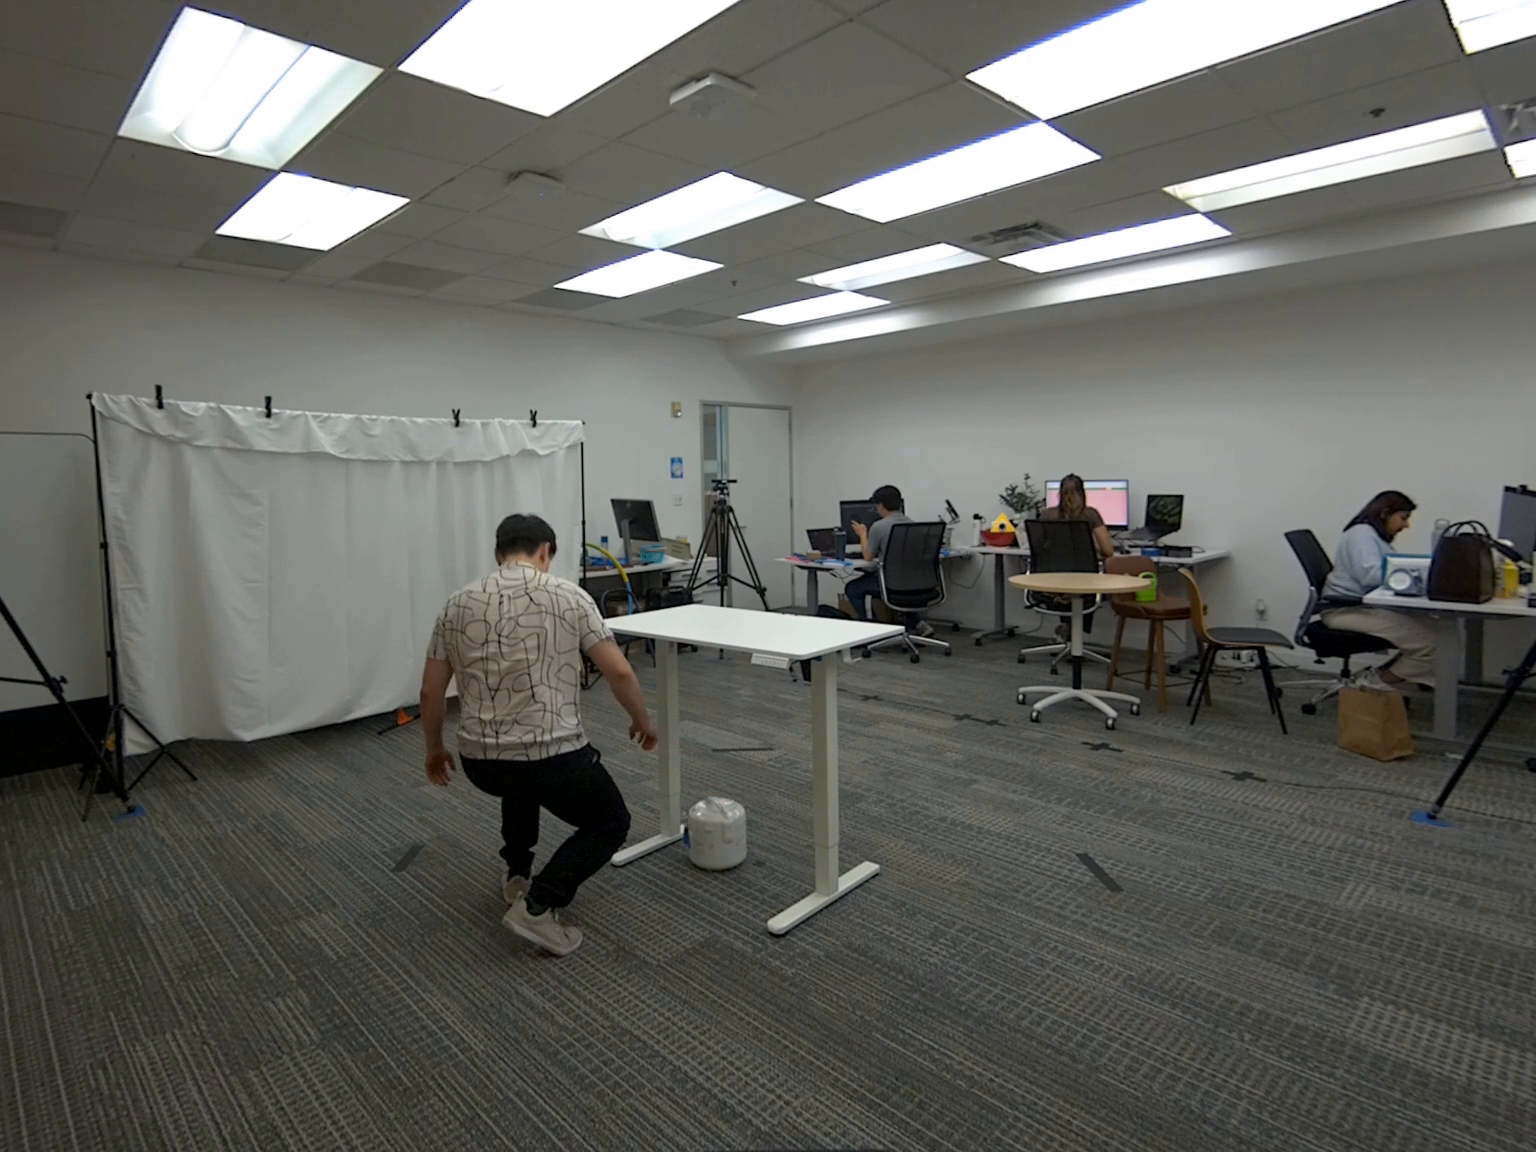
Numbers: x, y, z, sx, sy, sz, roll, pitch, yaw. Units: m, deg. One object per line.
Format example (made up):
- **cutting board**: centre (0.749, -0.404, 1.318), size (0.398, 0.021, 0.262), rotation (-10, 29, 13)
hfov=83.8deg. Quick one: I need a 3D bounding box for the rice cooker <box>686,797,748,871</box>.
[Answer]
- **rice cooker**: centre (-0.181, 0.930, 3.128), size (0.213, 0.232, 0.226), rotation (-4, 6, -24)
